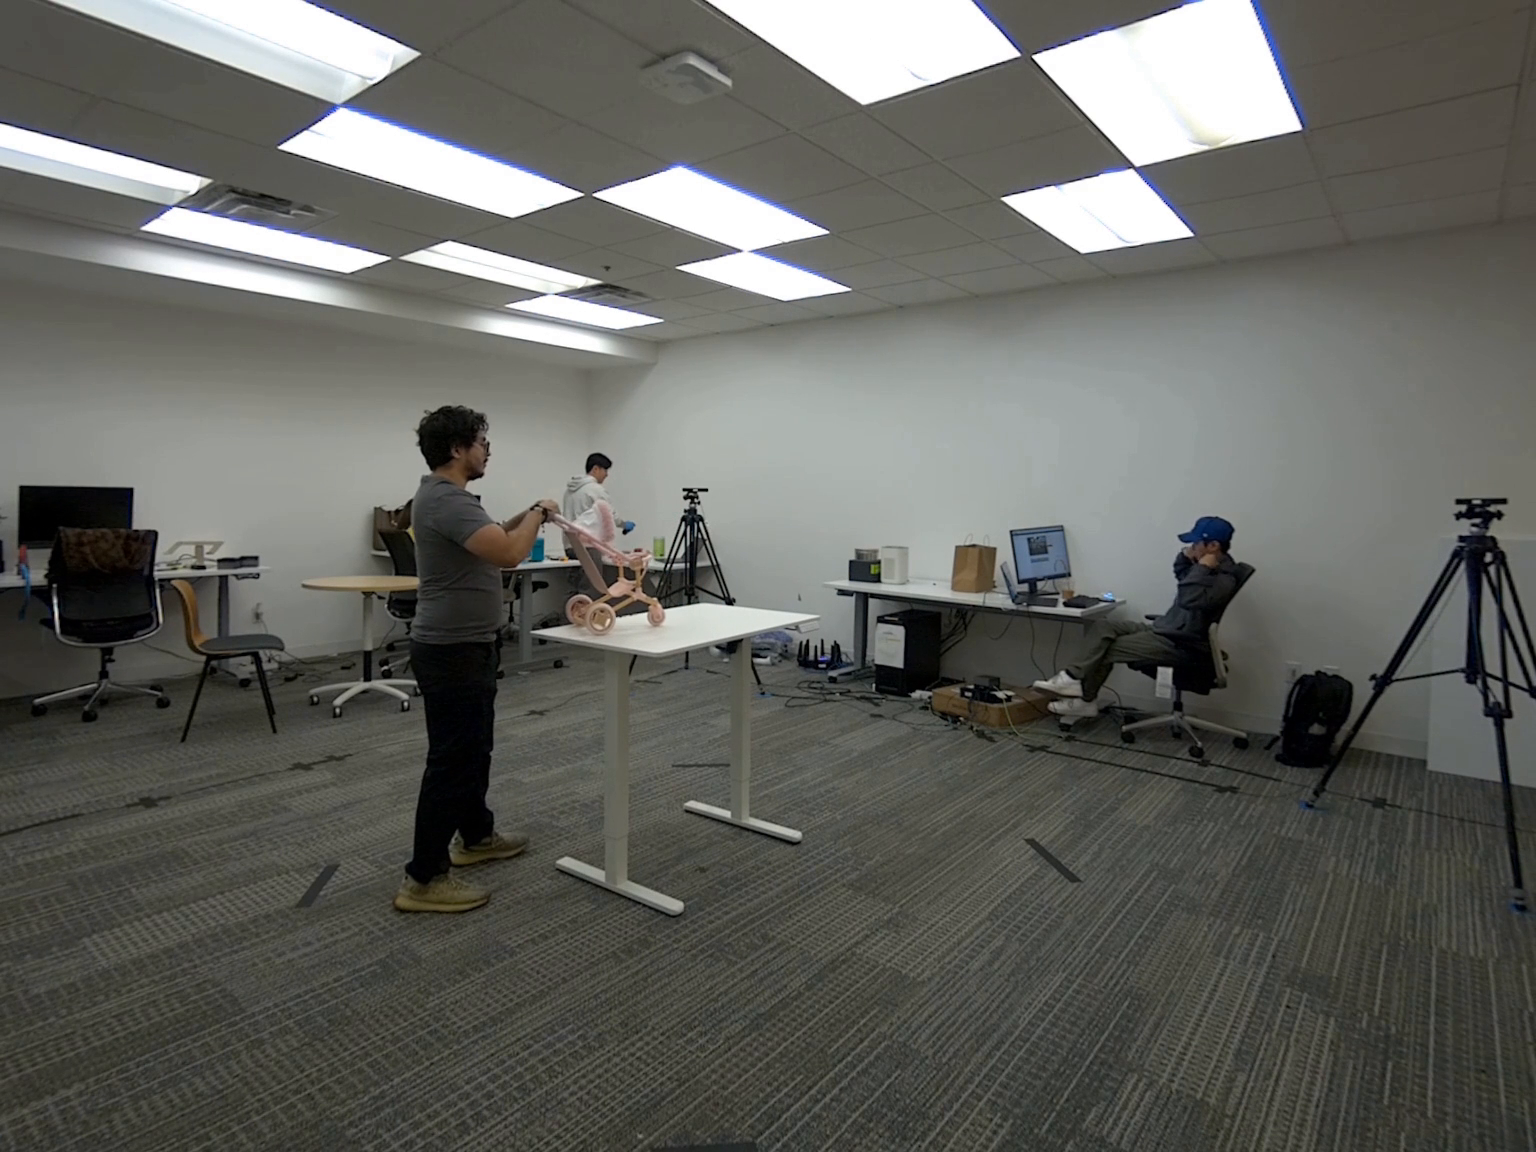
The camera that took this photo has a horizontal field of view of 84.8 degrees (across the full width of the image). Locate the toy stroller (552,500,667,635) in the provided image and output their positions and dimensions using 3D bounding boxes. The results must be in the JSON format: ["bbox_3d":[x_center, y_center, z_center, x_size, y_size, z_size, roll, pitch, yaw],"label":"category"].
[{"bbox_3d":[-0.588,-0.033,3.043,0.336,0.529,0.288,-17,10,-20],"label":"toy stroller"}]
